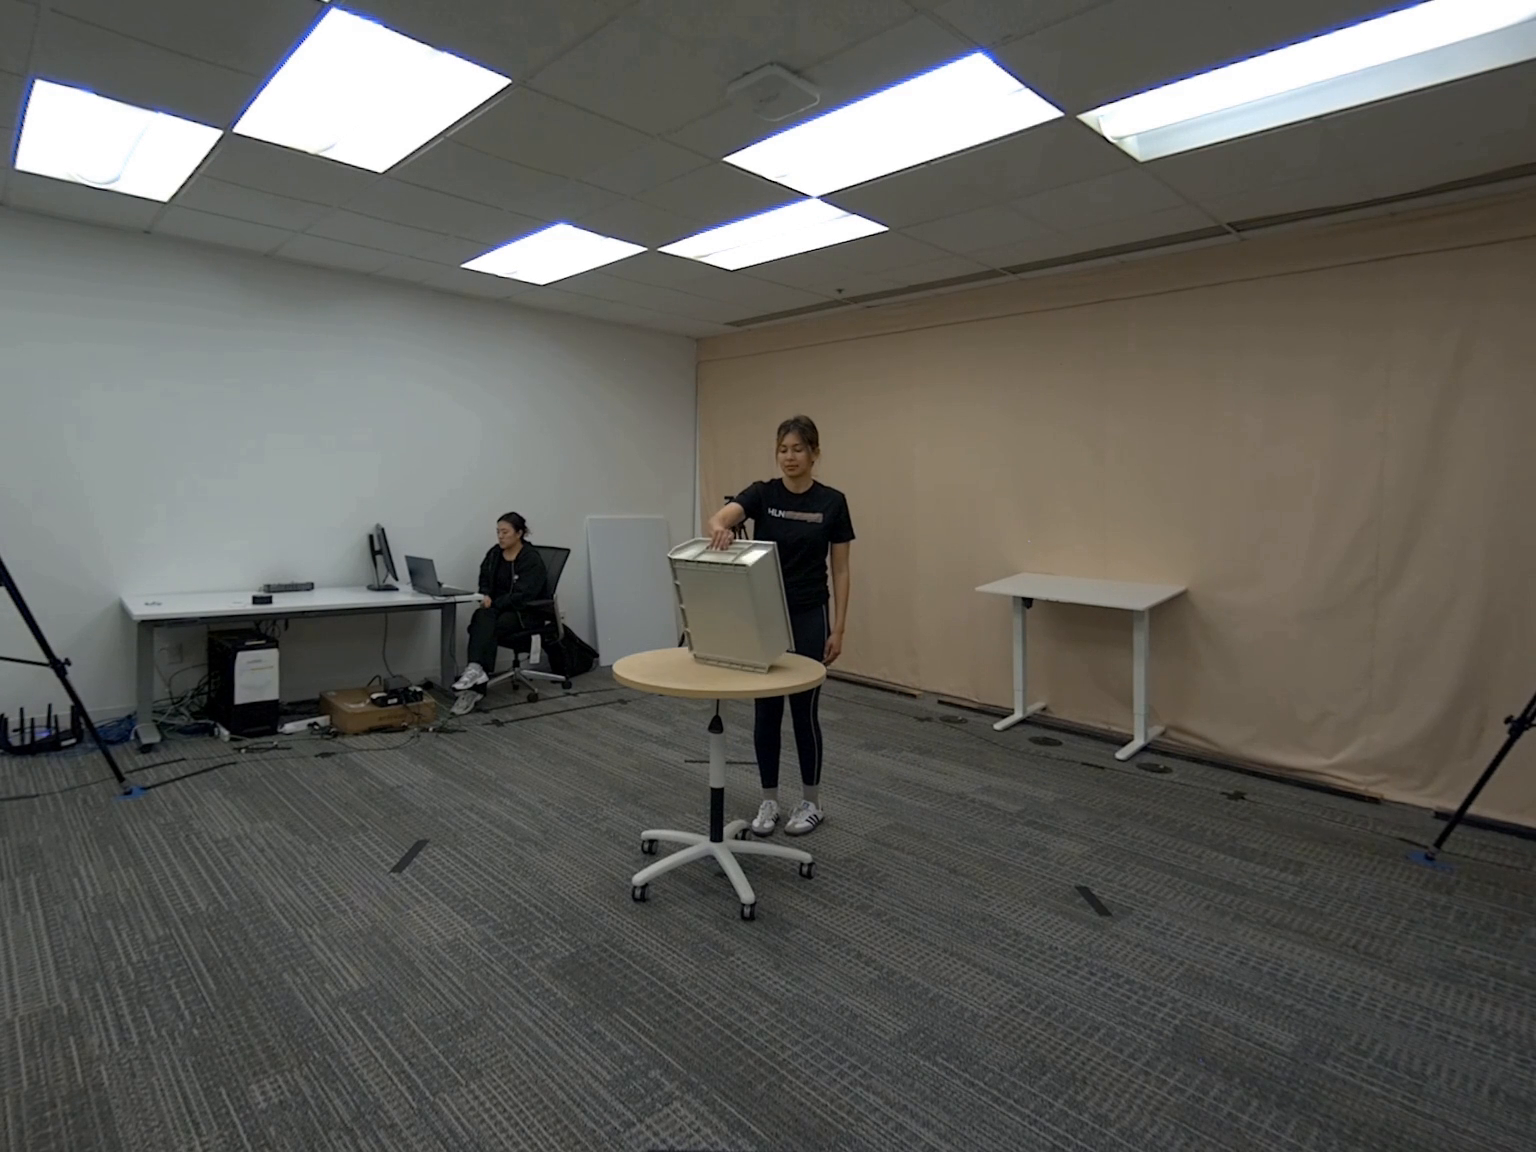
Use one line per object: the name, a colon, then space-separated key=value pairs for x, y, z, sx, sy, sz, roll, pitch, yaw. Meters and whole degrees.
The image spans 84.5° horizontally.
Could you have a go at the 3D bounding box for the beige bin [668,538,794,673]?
beige bin: x=-0.148 y=0.094 z=3.004 sx=0.386 sy=0.416 sz=0.187 roll=5 pitch=24 yaw=36
